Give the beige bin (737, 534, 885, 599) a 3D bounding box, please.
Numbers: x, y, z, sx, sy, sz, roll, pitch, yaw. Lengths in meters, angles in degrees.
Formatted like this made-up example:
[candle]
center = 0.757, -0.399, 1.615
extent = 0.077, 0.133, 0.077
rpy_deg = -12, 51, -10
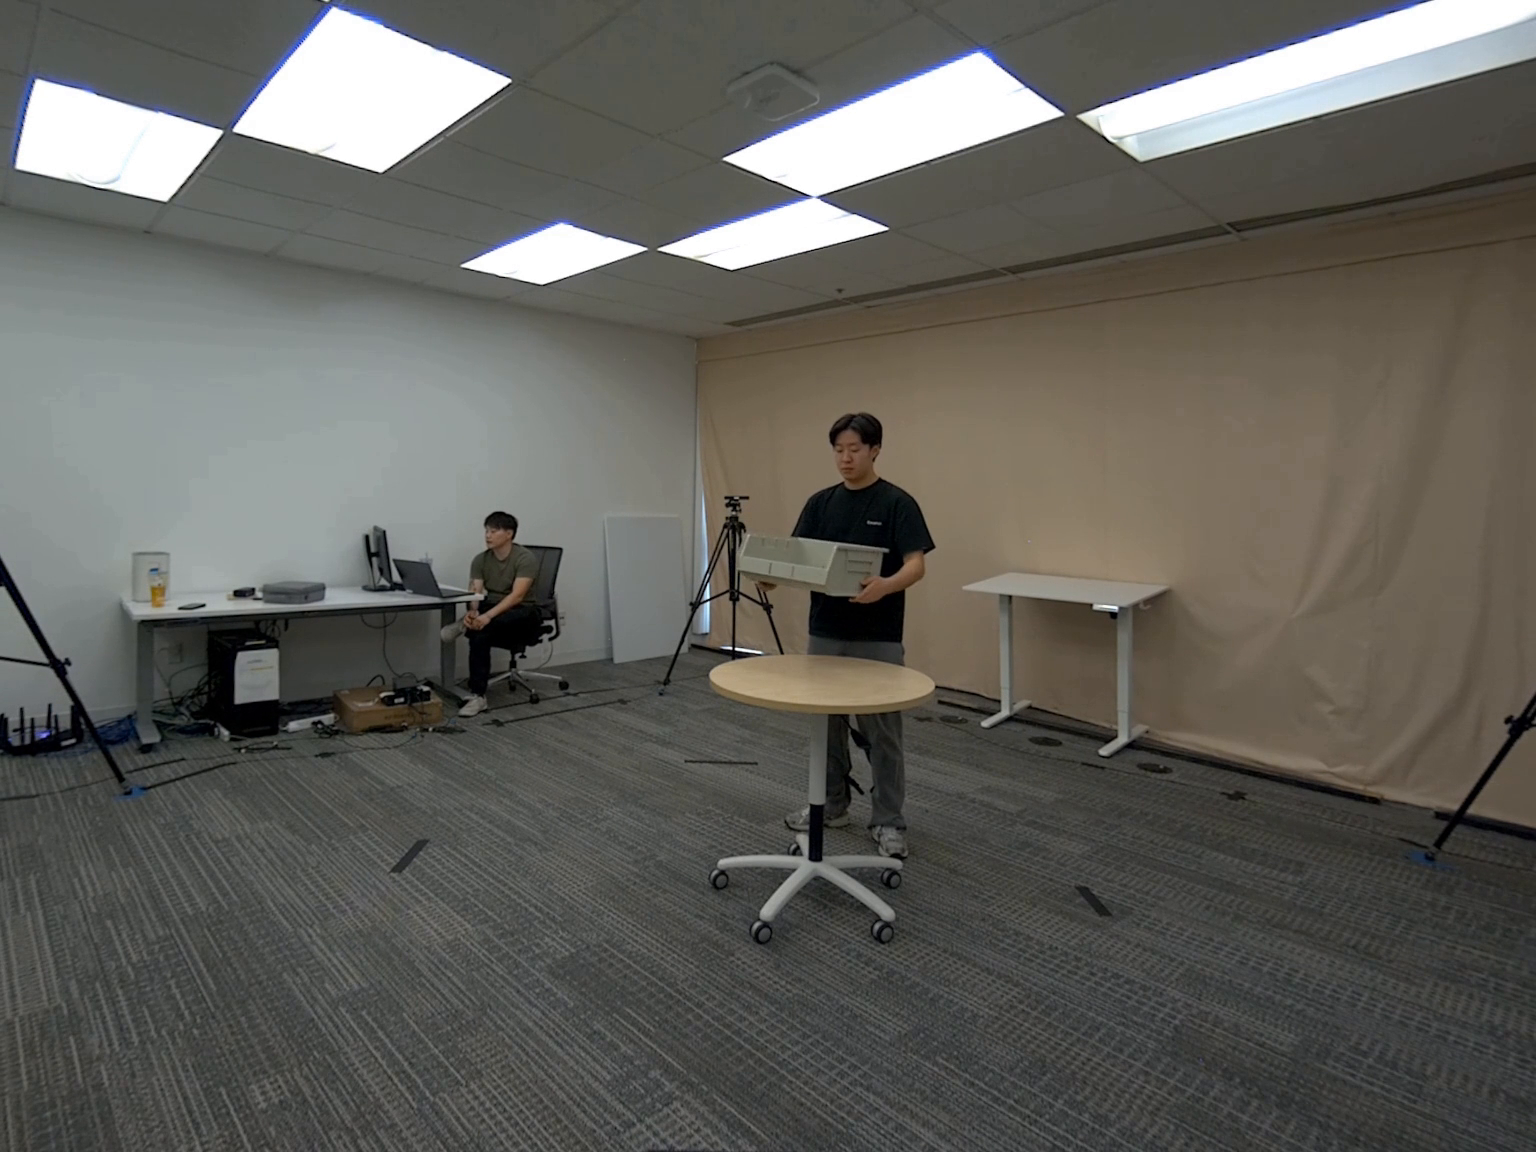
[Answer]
[beige bin]
center = 0.154, -0.038, 3.142
extent = 0.433, 0.189, 0.368
rpy_deg = 9, 2, 40
